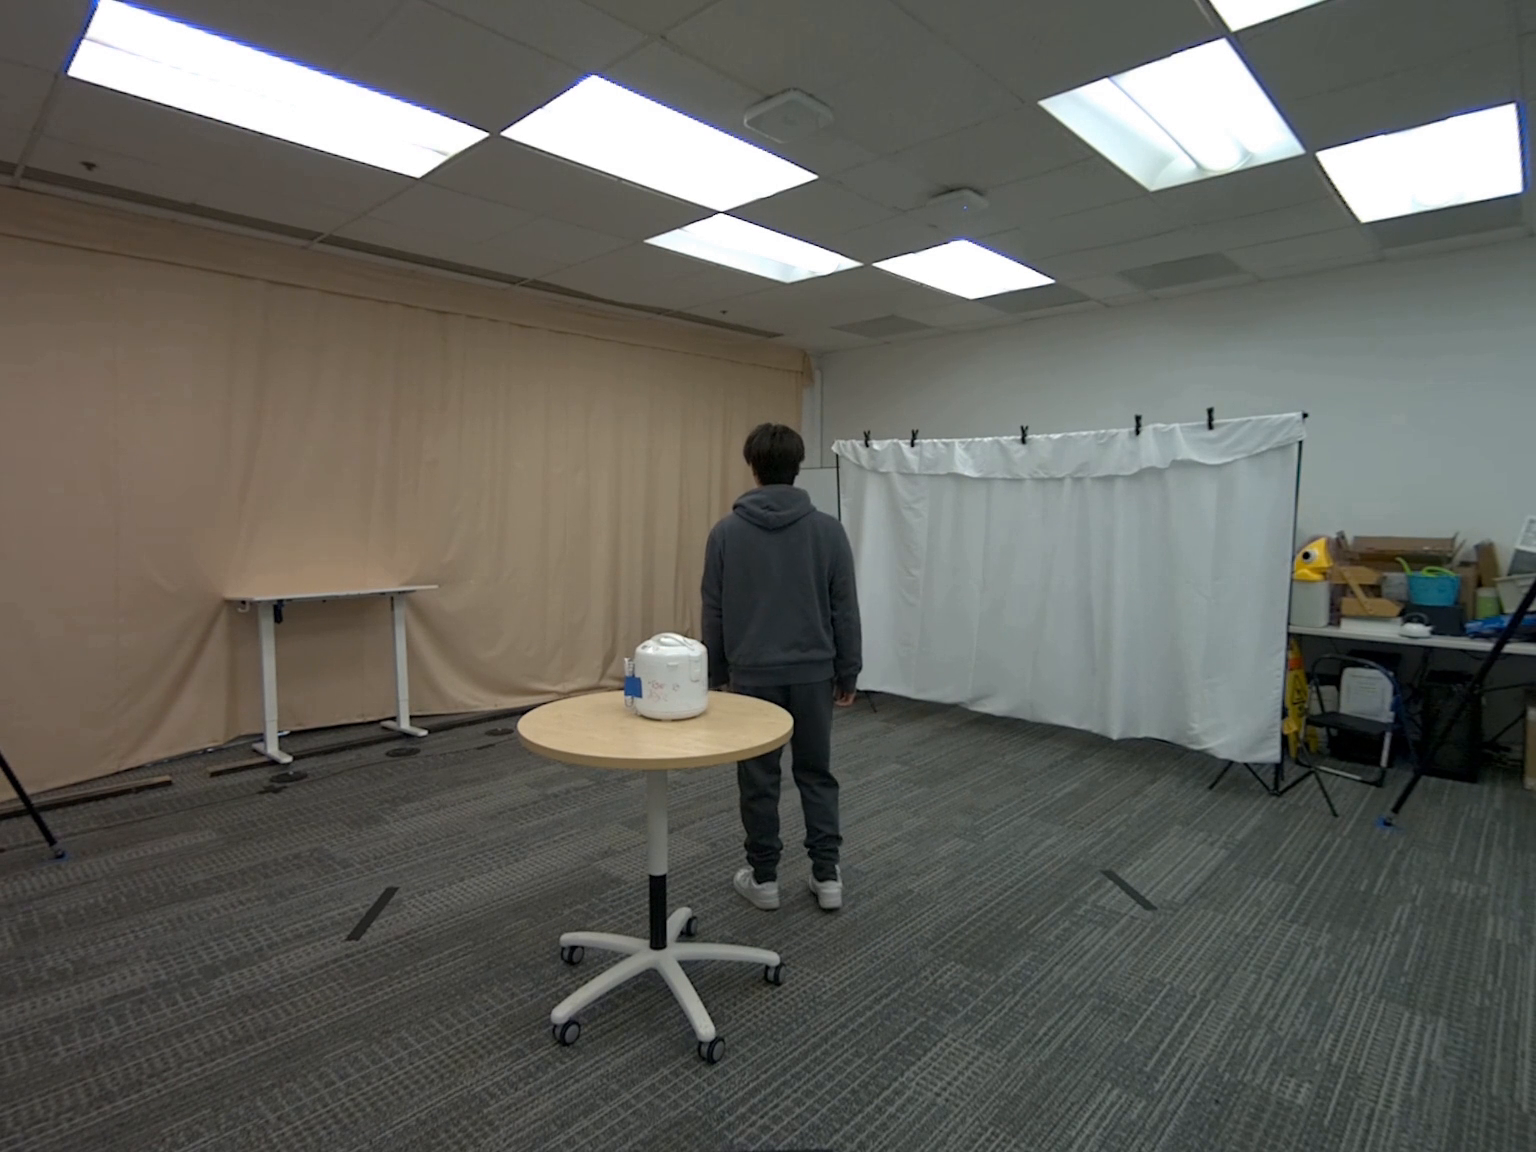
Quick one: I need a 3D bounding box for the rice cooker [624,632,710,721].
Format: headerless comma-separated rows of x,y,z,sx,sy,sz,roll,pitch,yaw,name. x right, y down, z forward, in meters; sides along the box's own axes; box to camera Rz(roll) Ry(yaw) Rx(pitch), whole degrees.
-0.278,0.279,2.416,0.228,0.232,0.211,3,5,43,rice cooker
